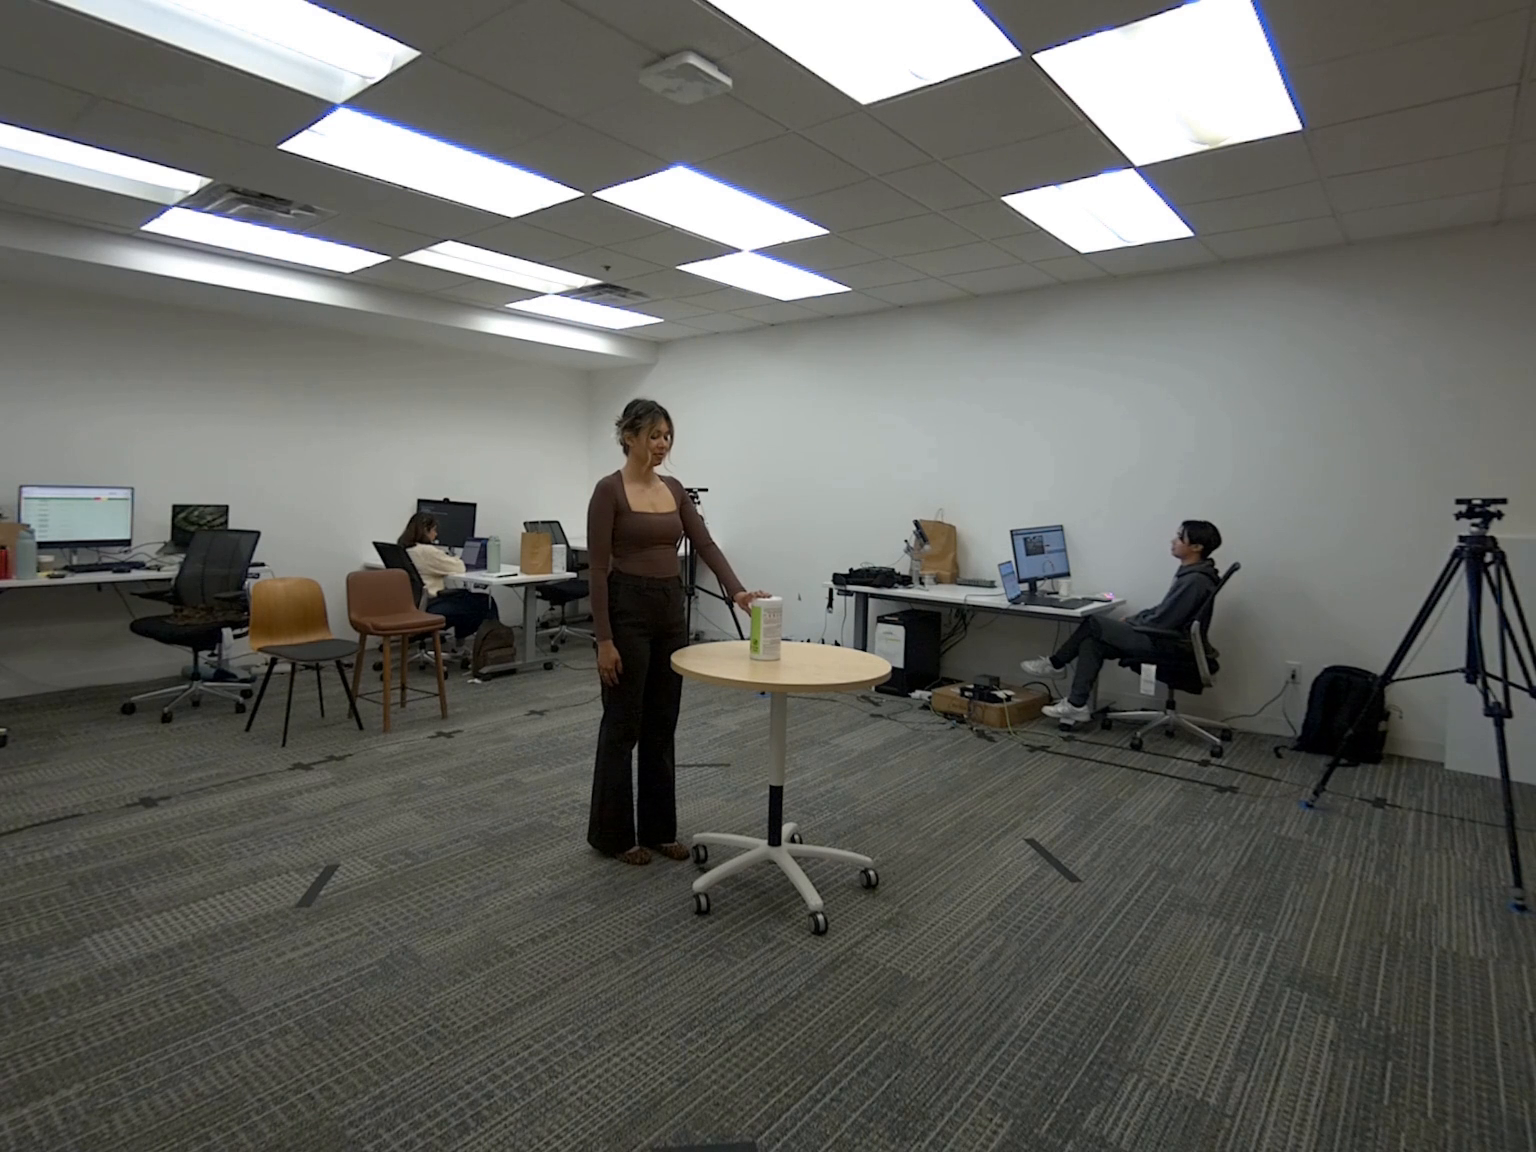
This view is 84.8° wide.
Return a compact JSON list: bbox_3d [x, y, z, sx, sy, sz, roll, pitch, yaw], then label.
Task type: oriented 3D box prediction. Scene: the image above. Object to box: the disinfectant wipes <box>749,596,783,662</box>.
[{"bbox_3d":[-0.015,0.182,2.993,0.118,0.217,0.118,1,2,-2],"label":"disinfectant wipes"}]
